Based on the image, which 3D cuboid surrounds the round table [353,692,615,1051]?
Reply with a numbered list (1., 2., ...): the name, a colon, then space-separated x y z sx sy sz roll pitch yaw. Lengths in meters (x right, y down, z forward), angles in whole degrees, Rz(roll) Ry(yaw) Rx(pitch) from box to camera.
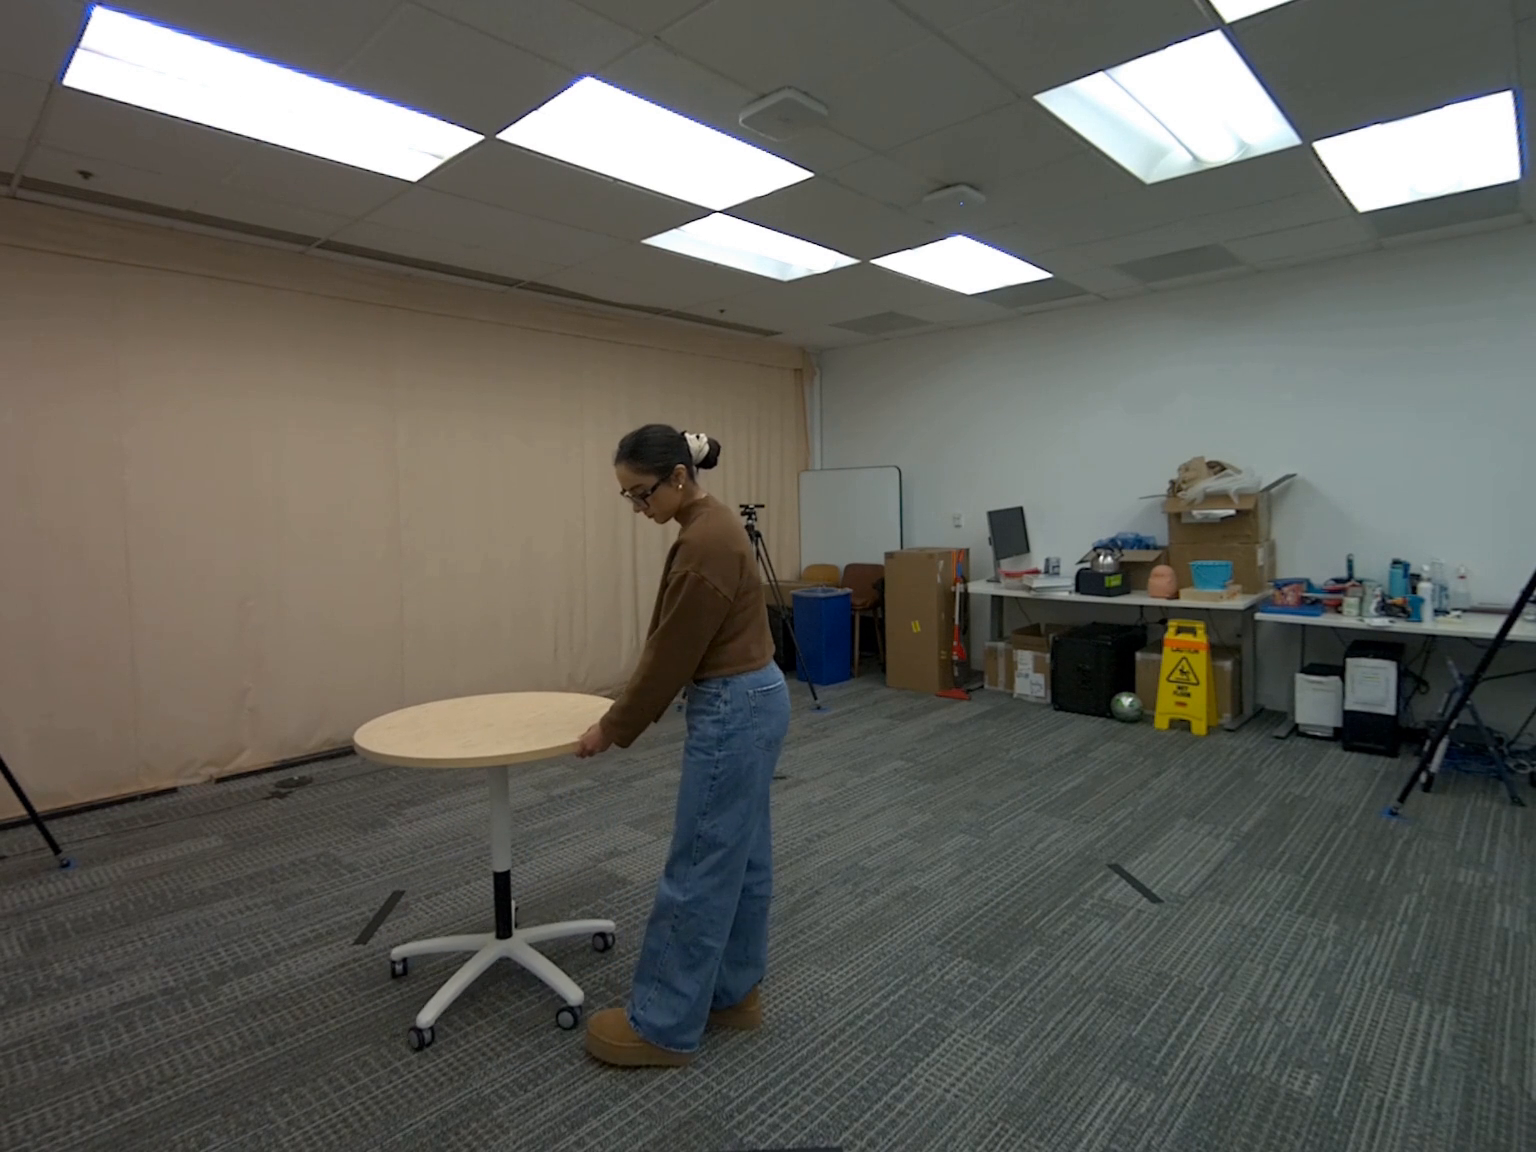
1. round table: -0.778 0.813 2.468 0.763 0.792 0.766 -2 3 -2
